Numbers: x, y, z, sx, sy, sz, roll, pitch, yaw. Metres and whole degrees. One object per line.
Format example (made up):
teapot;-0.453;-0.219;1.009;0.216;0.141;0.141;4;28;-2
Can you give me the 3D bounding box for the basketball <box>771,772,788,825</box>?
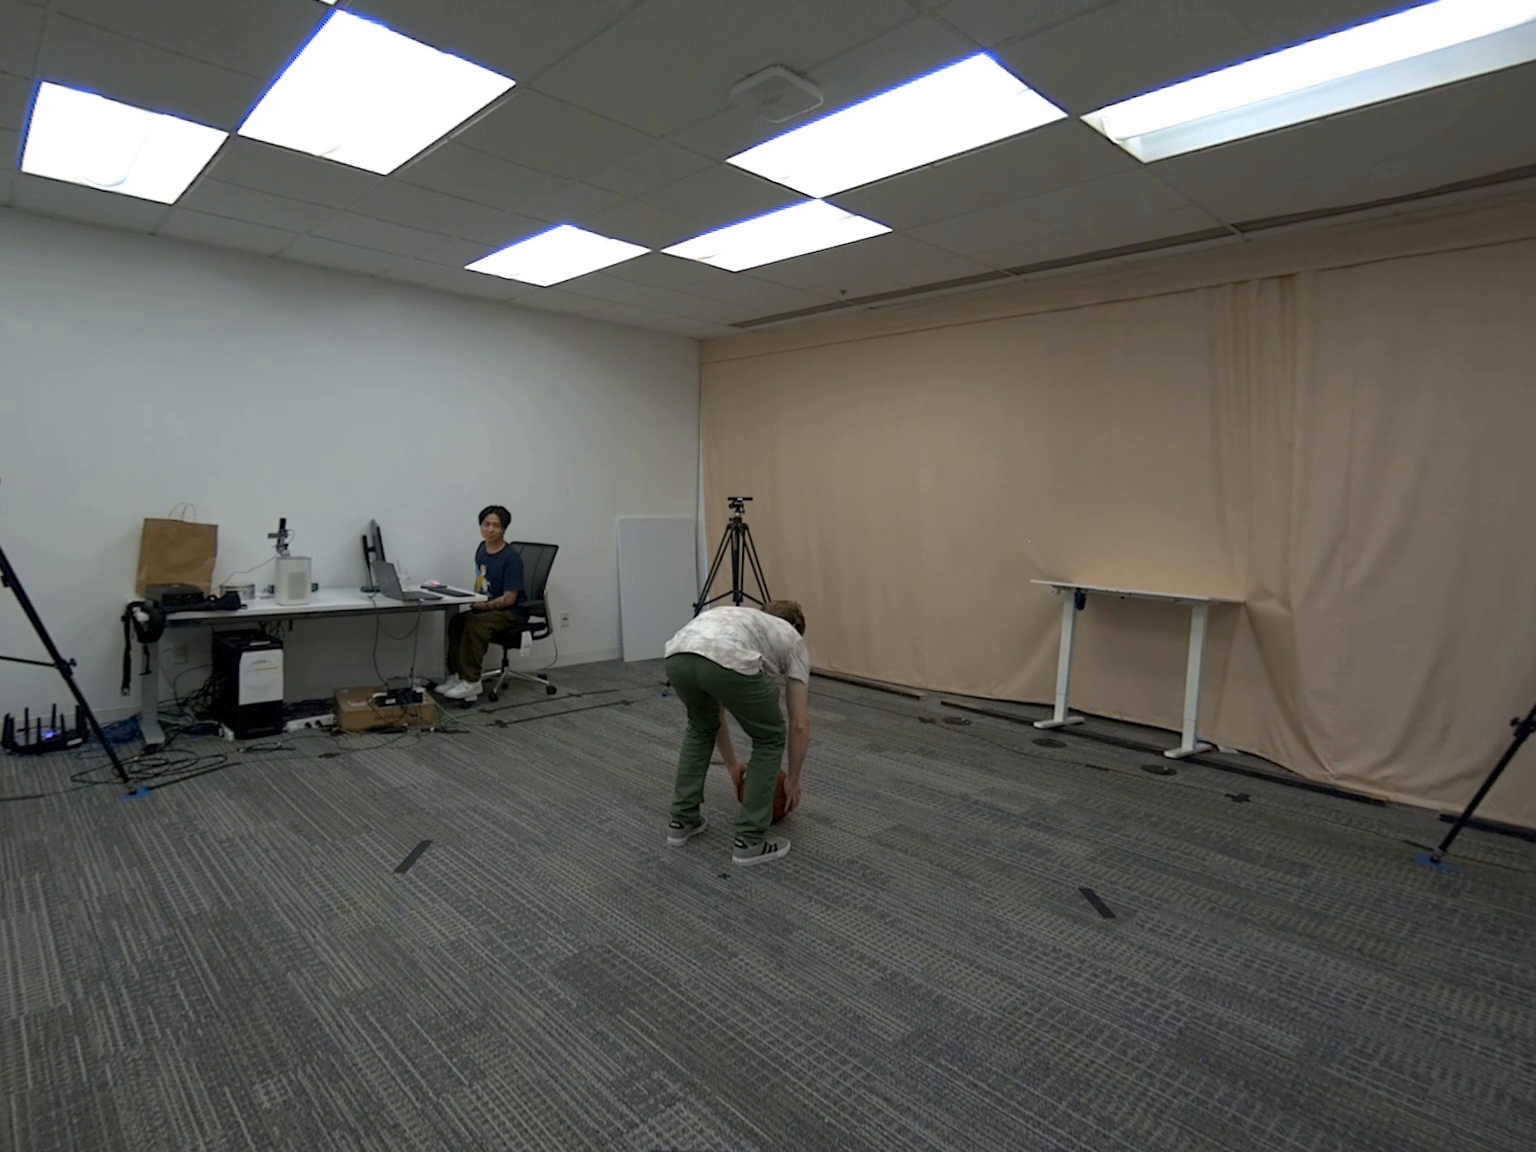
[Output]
basketball;-0.013;0.952;3.652;0.236;0.235;0.237;1;4;-1
